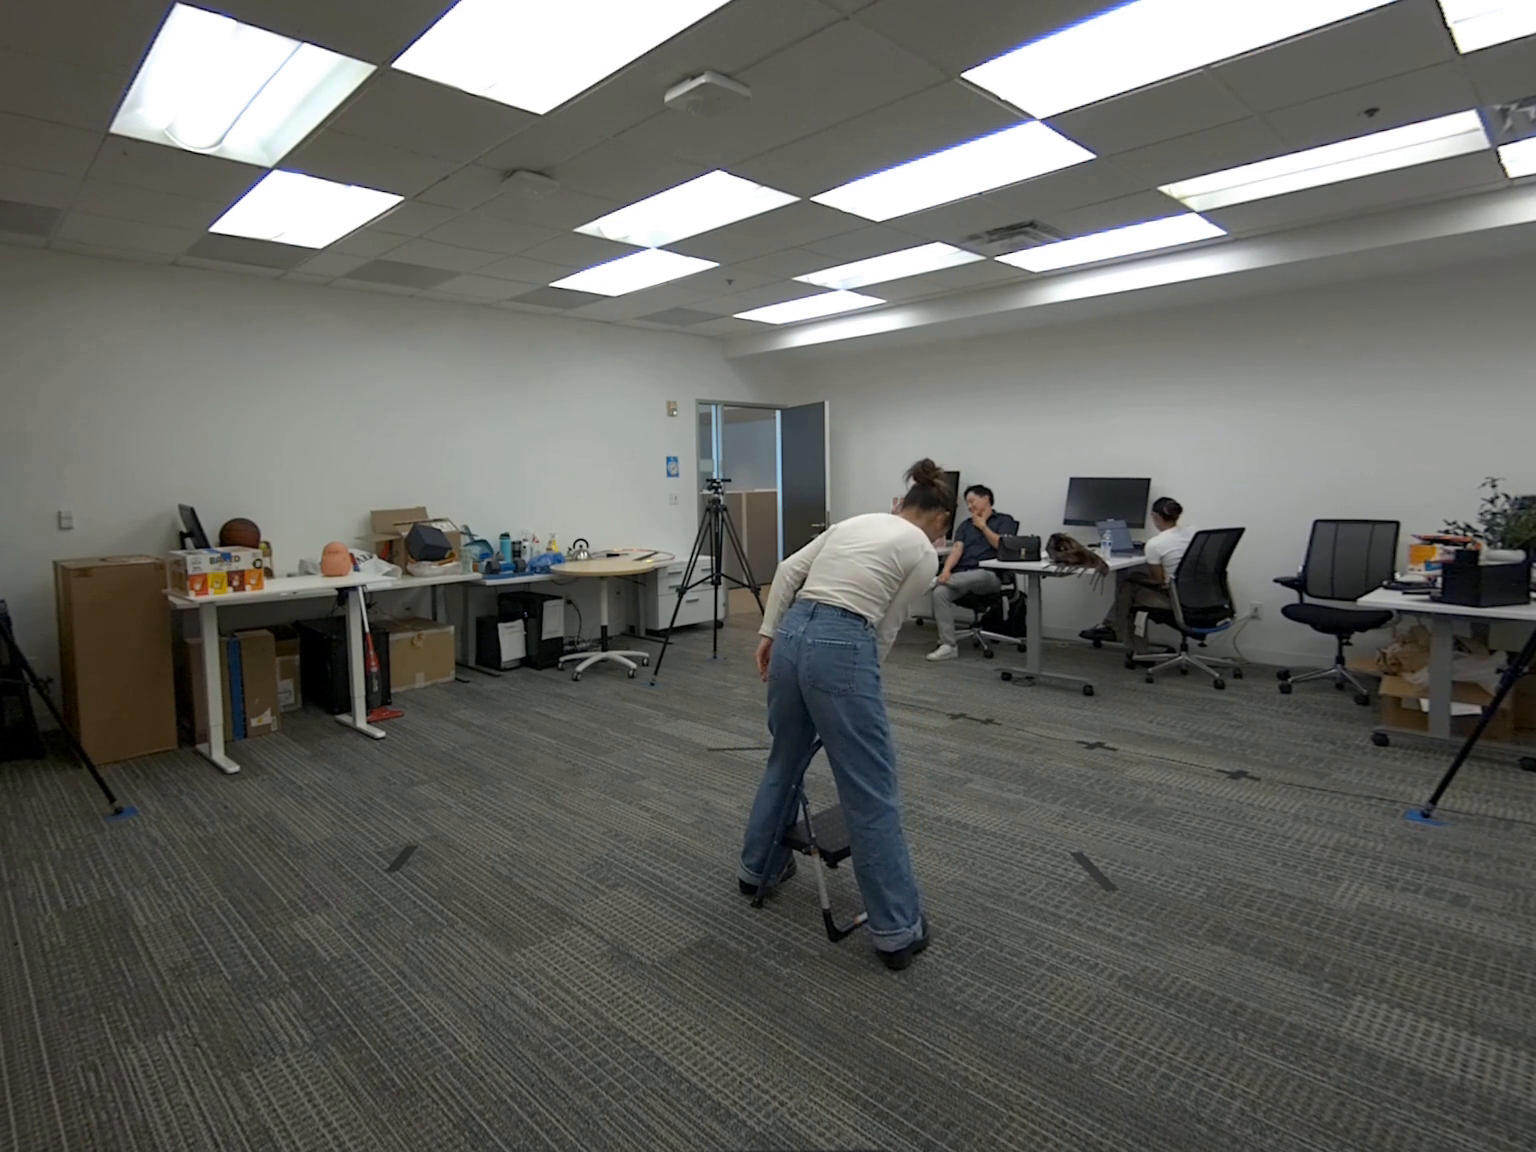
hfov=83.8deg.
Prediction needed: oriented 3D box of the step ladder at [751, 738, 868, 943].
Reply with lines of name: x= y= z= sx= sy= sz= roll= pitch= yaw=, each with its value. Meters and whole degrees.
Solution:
step ladder: x=0.214 y=0.776 z=2.807 sx=0.360 sy=0.604 sz=0.419 roll=2 pitch=5 yaw=43
